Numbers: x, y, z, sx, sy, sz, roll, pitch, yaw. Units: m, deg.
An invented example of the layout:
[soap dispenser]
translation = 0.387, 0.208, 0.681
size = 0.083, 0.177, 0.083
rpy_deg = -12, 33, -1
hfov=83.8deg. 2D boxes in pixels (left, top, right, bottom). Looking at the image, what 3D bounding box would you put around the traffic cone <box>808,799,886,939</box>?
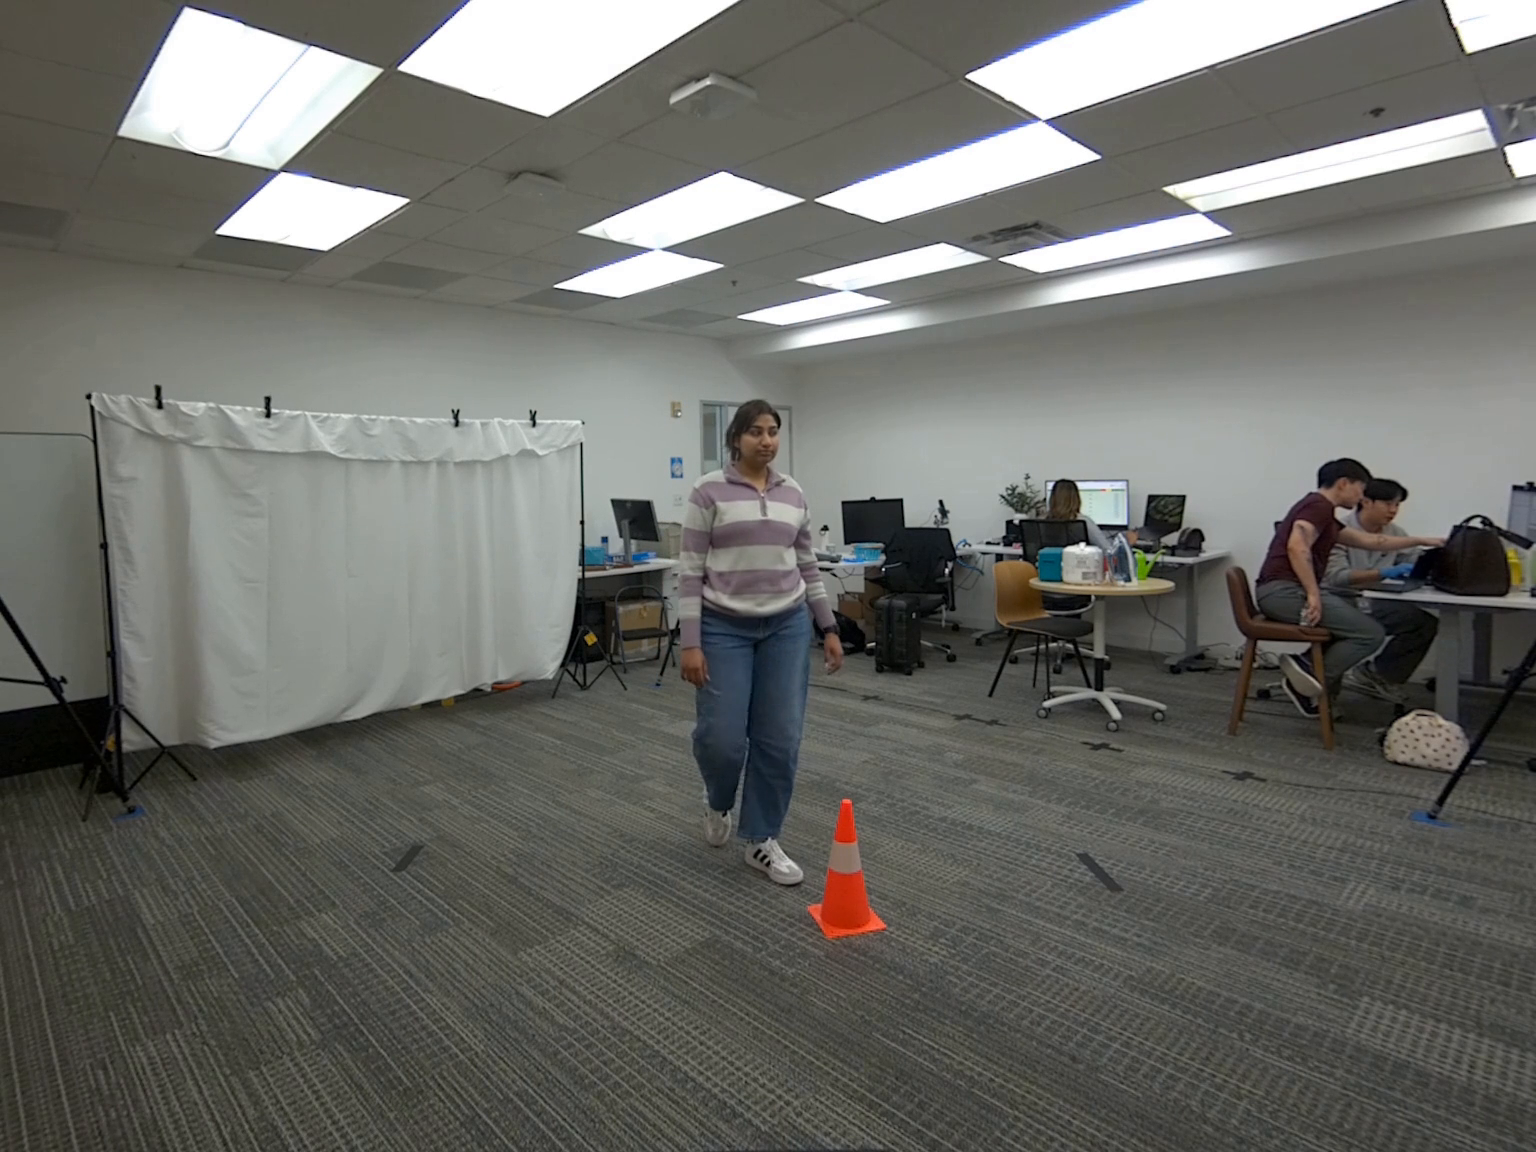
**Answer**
[traffic cone]
translation = 0.251, 0.903, 2.711
size = 0.201, 0.383, 0.208
rpy_deg = -1, 2, -13
